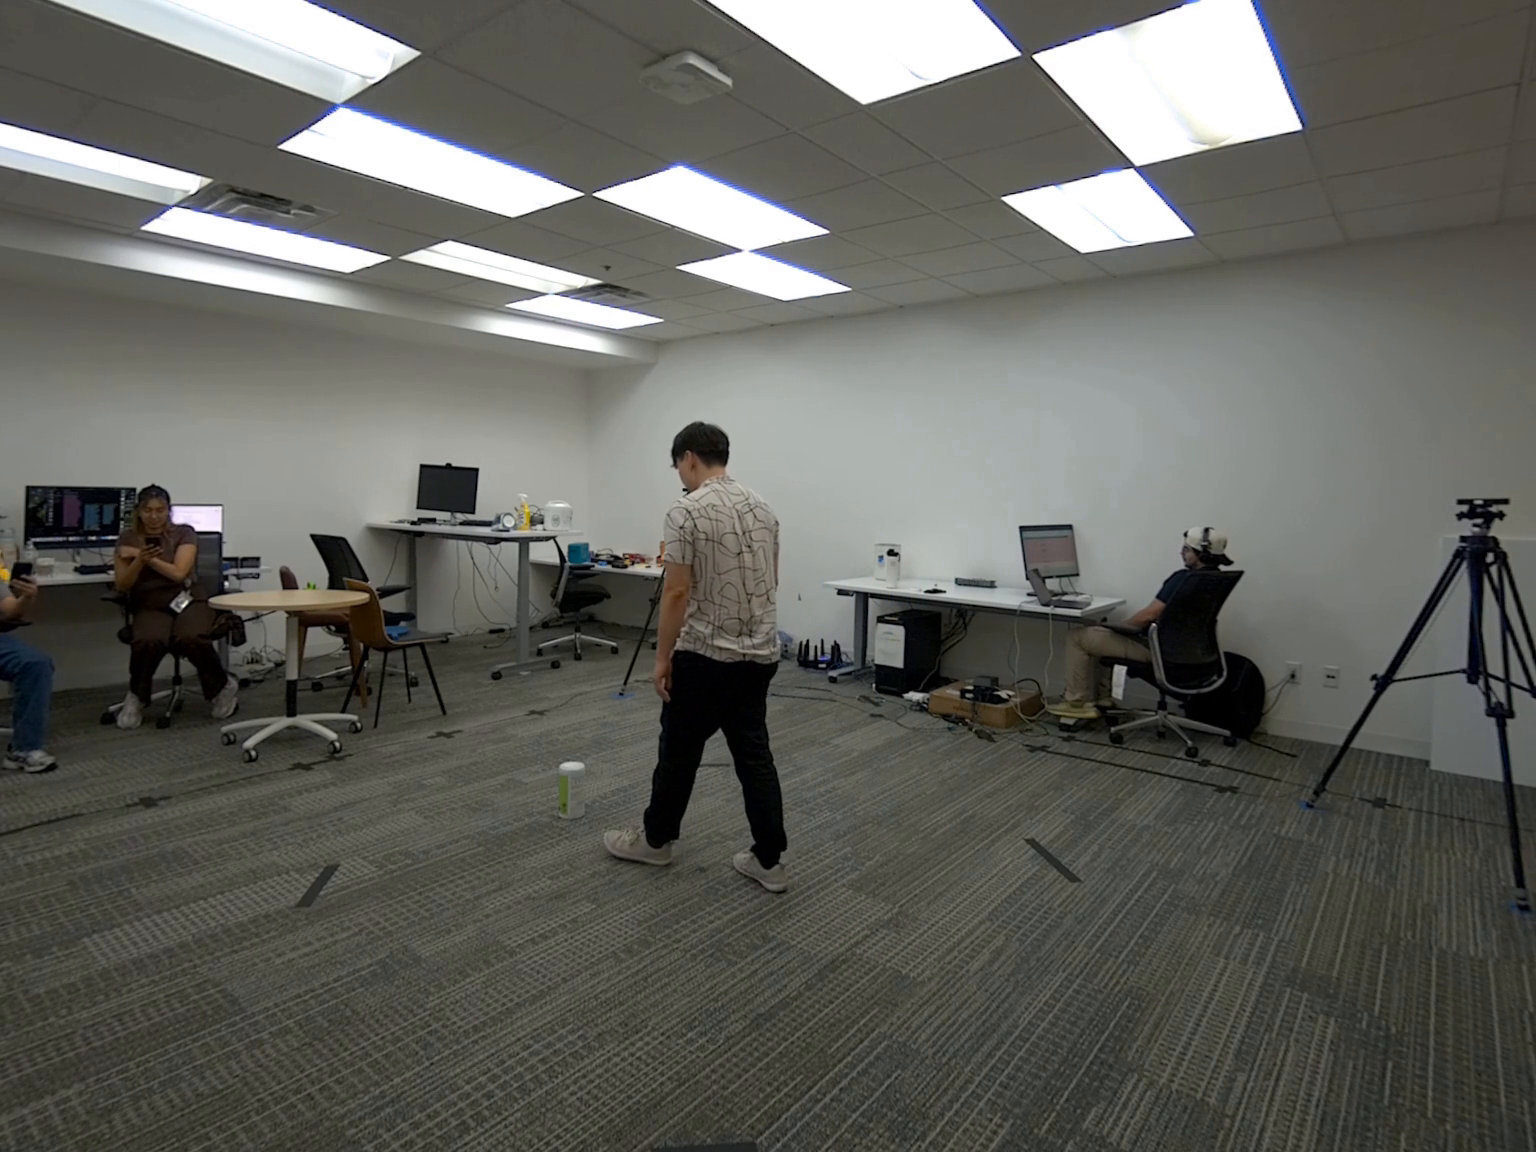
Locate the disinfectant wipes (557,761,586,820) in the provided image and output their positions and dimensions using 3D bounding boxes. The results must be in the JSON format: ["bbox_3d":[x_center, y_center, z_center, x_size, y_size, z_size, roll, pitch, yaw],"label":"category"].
[{"bbox_3d":[-0.843,0.909,3.603,0.118,0.216,0.118,1,4,-2],"label":"disinfectant wipes"}]
